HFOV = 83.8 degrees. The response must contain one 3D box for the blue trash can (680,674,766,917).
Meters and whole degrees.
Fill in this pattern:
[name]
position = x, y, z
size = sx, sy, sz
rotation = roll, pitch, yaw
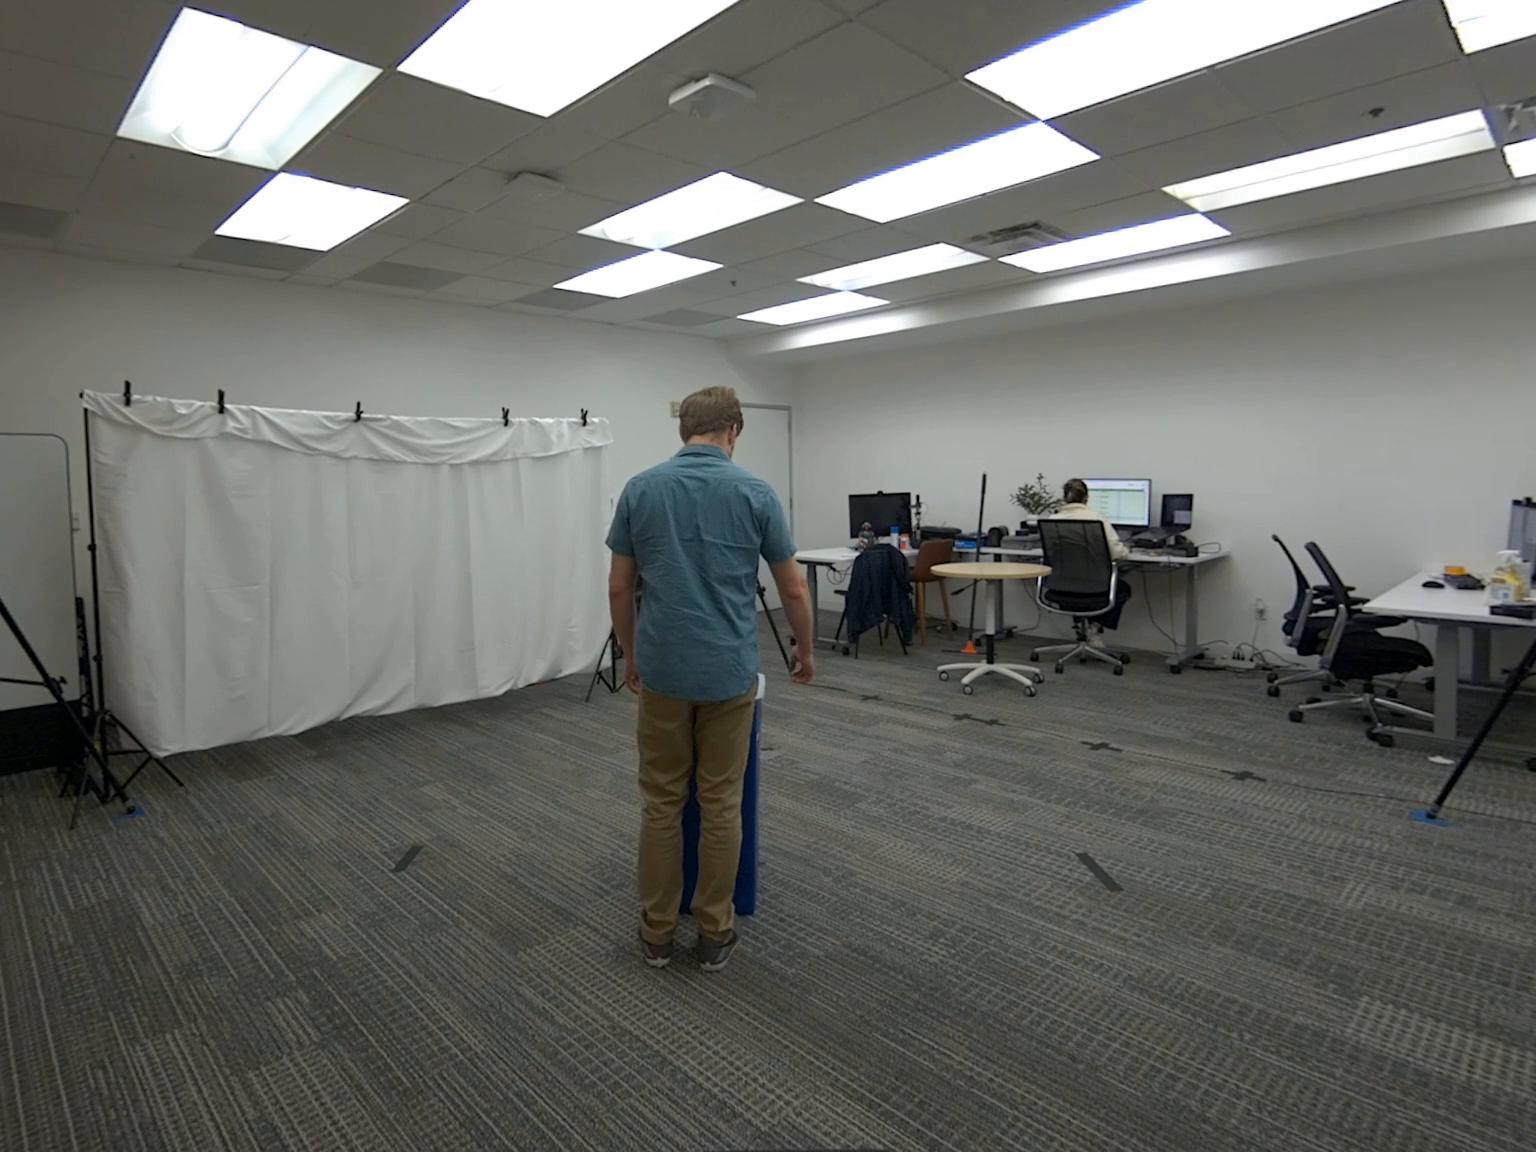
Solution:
[blue trash can]
position = -0.180, 0.722, 2.876
size = 0.375, 0.711, 0.378
rotation = -1, 4, 2
